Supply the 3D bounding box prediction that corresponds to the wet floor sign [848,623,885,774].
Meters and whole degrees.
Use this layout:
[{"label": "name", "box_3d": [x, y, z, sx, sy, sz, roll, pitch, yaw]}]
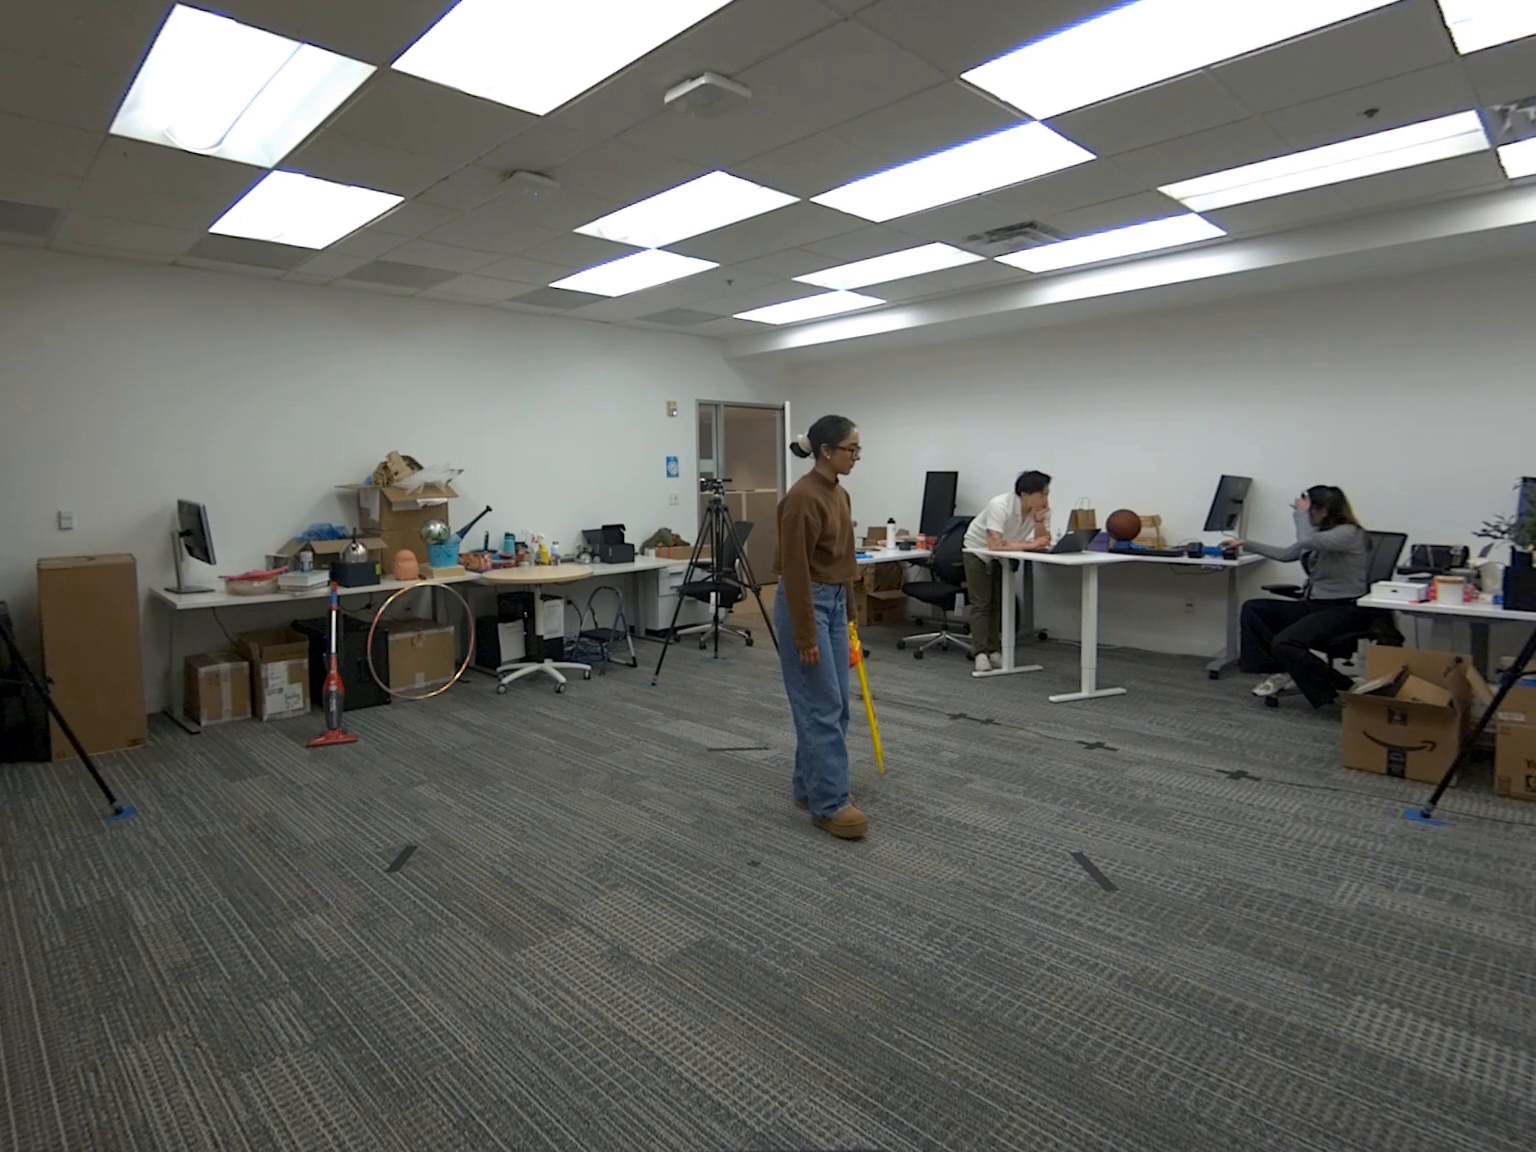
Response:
[{"label": "wet floor sign", "box_3d": [0.378, 0.524, 3.832, 0.292, 0.645, 0.280, -1, 2, 9]}]
